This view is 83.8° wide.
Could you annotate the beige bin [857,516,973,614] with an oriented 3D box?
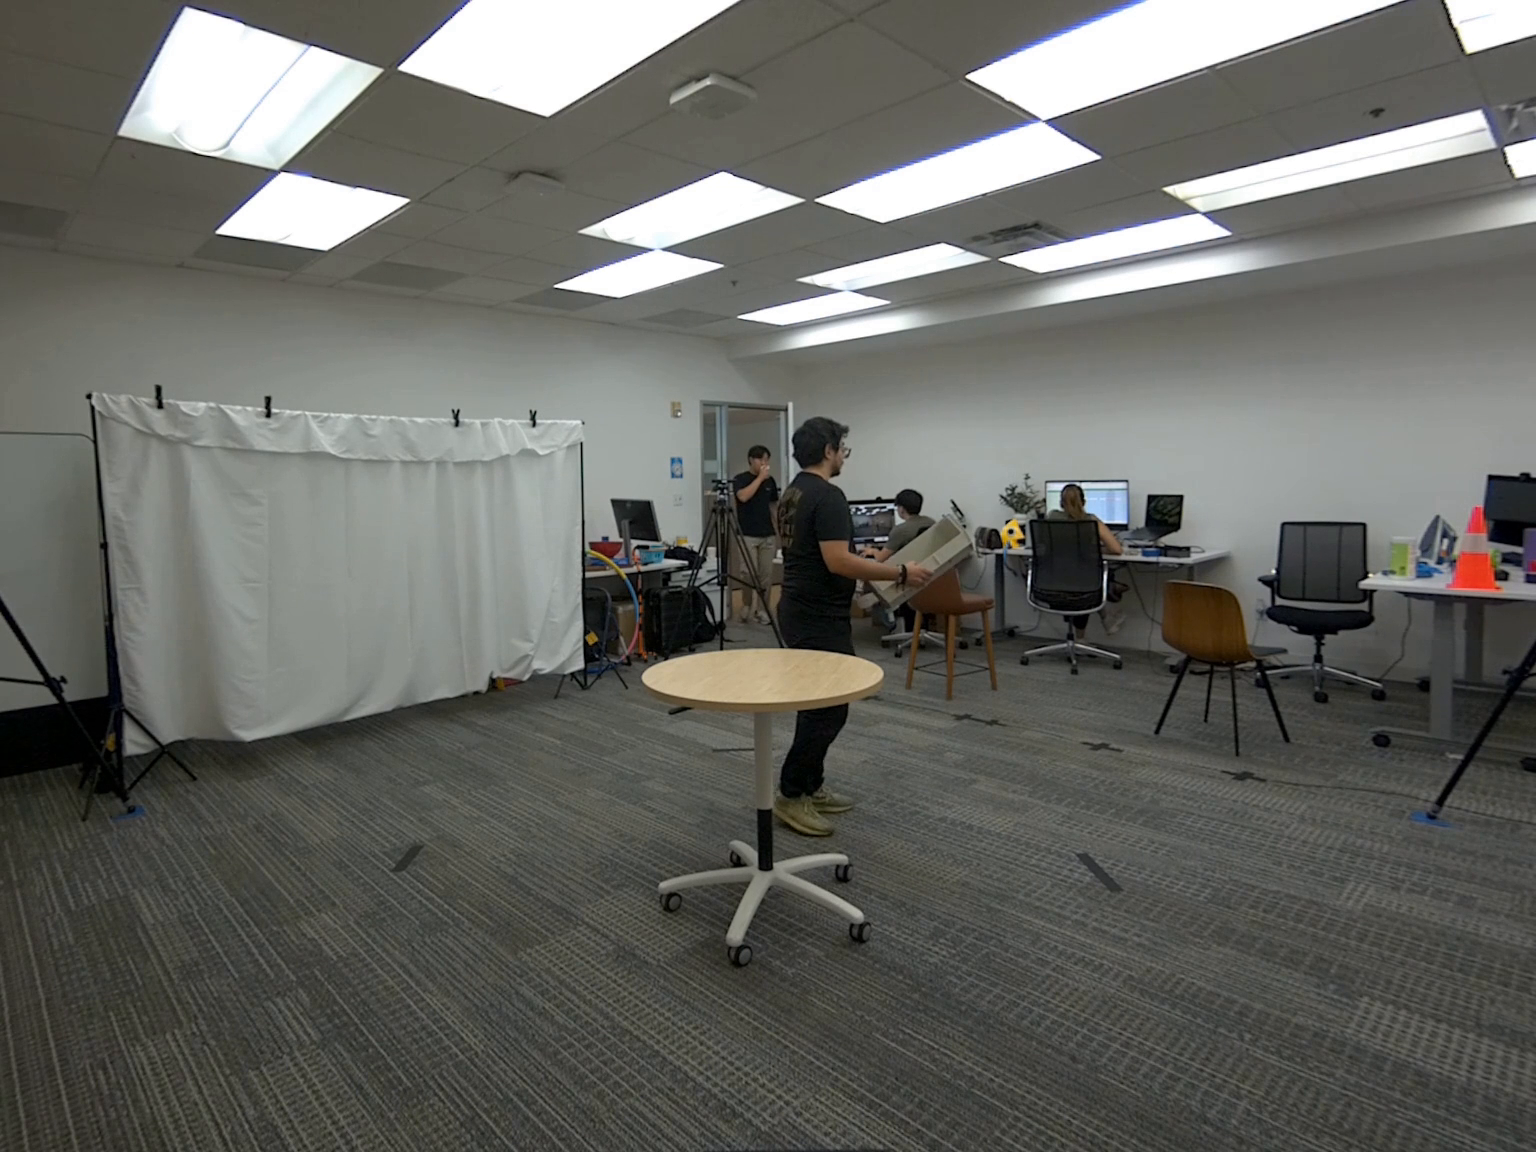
[{"bbox_3d":[0.612,-0.041,3.504,0.422,0.191,0.373,-38,-6,1],"label":"beige bin"}]
